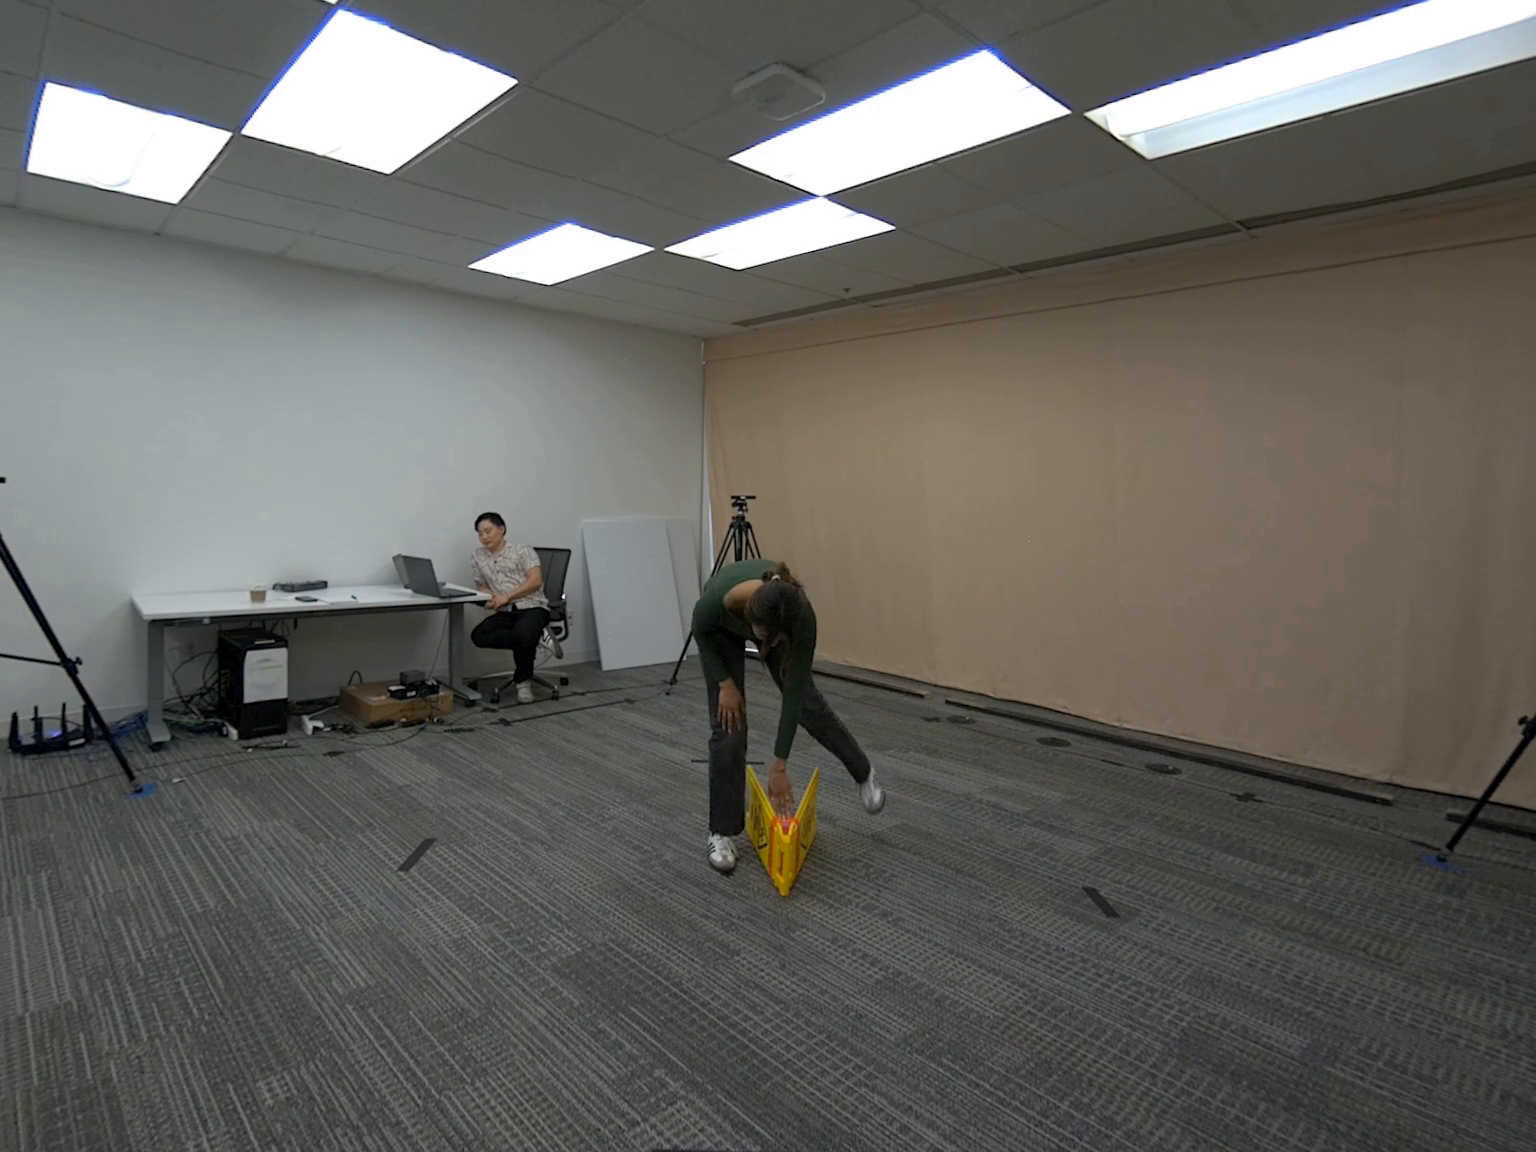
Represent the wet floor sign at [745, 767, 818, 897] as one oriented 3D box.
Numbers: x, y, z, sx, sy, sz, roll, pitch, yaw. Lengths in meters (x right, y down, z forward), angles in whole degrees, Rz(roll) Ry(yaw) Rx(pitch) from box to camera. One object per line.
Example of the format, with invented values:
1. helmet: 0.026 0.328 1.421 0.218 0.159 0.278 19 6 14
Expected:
1. wet floor sign: 0.054 0.965 3.194 0.290 0.281 0.649 1 7 -1
